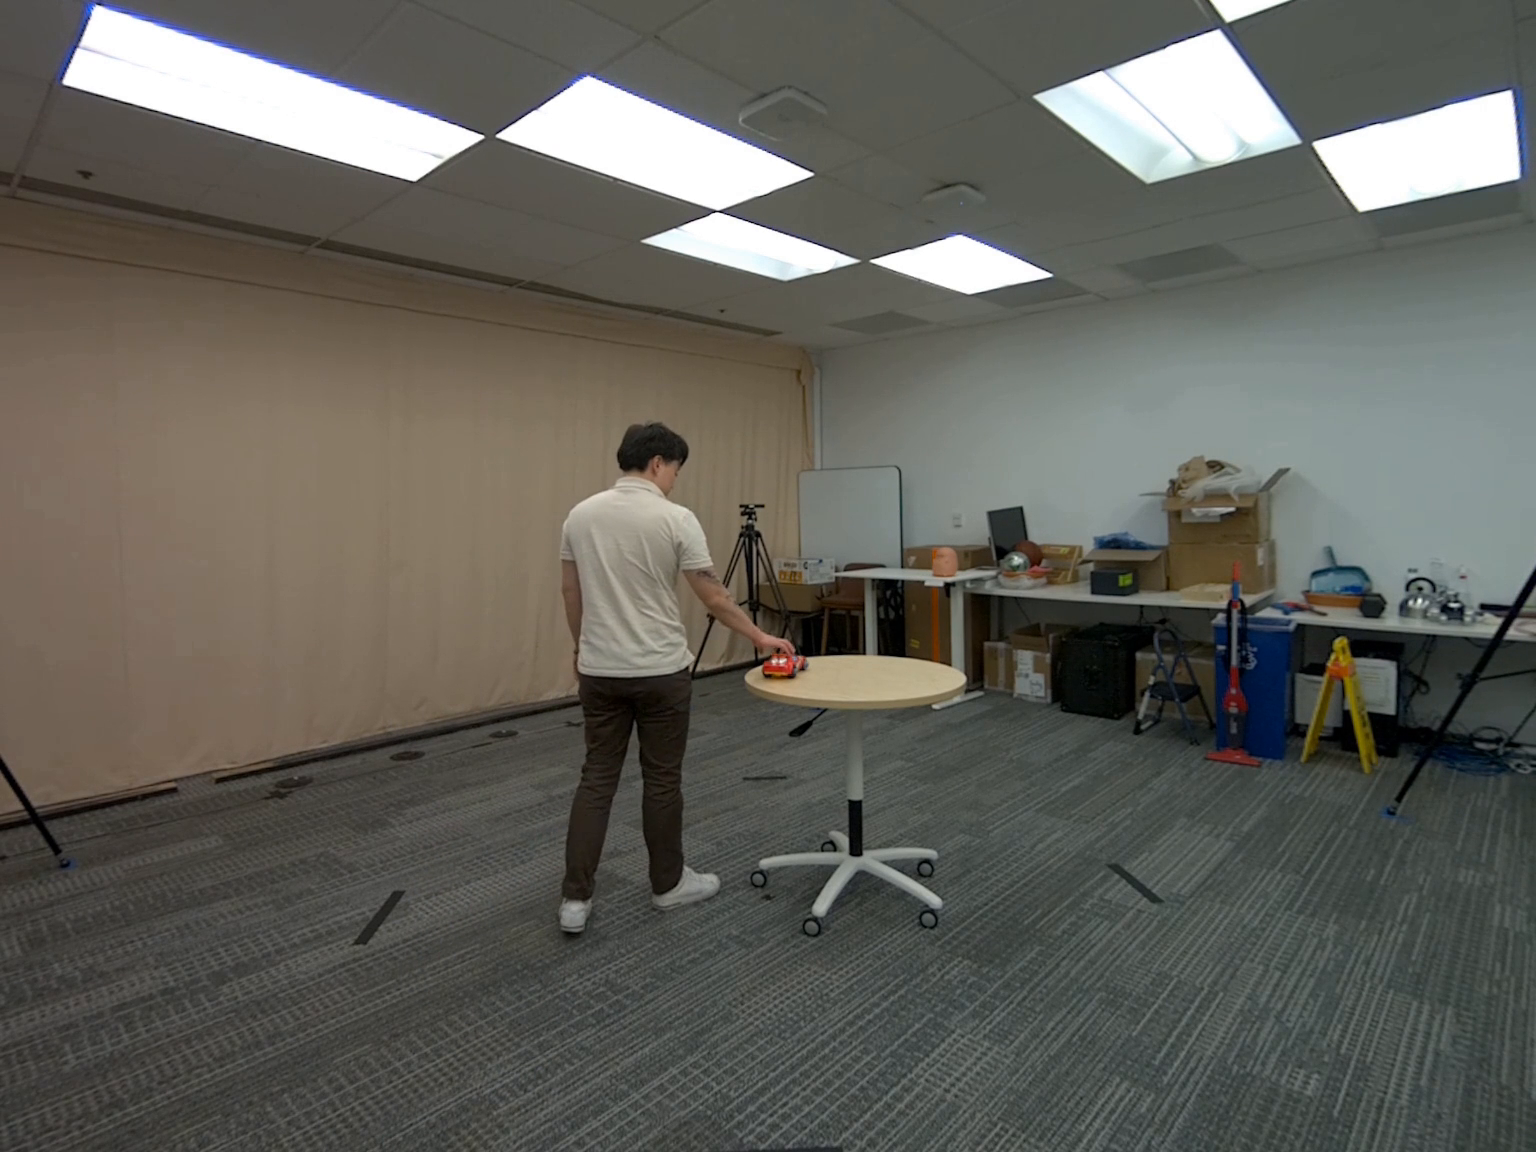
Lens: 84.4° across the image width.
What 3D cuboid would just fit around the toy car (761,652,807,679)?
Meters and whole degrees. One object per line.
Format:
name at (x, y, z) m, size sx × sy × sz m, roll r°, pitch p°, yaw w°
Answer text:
toy car at (0.058, 0.323, 3.003) m, size 0.133 × 0.083 × 0.248 m, roll 1°, pitch -6°, yaw 19°
